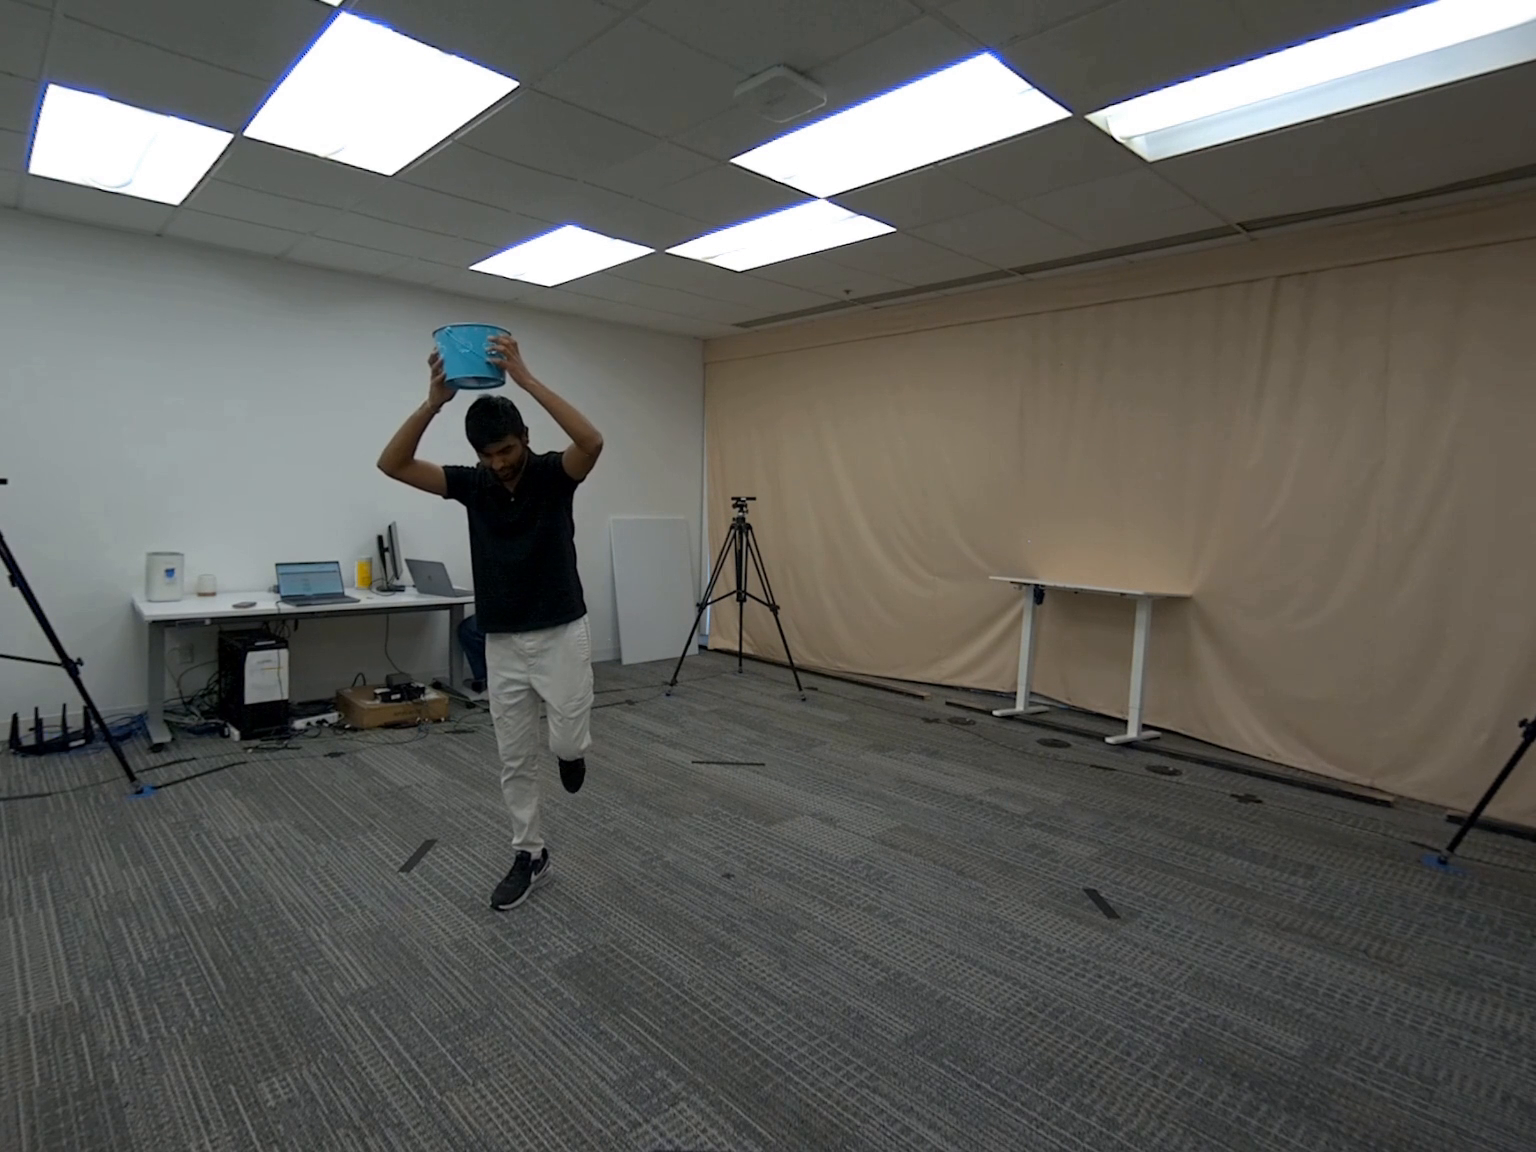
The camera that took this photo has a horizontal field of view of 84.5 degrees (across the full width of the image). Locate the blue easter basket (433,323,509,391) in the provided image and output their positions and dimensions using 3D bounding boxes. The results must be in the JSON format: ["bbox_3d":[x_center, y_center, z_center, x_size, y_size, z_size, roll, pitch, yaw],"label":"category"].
[{"bbox_3d":[-0.910,-0.669,2.565,0.243,0.156,0.244,-2,1,-1],"label":"blue easter basket"}]
